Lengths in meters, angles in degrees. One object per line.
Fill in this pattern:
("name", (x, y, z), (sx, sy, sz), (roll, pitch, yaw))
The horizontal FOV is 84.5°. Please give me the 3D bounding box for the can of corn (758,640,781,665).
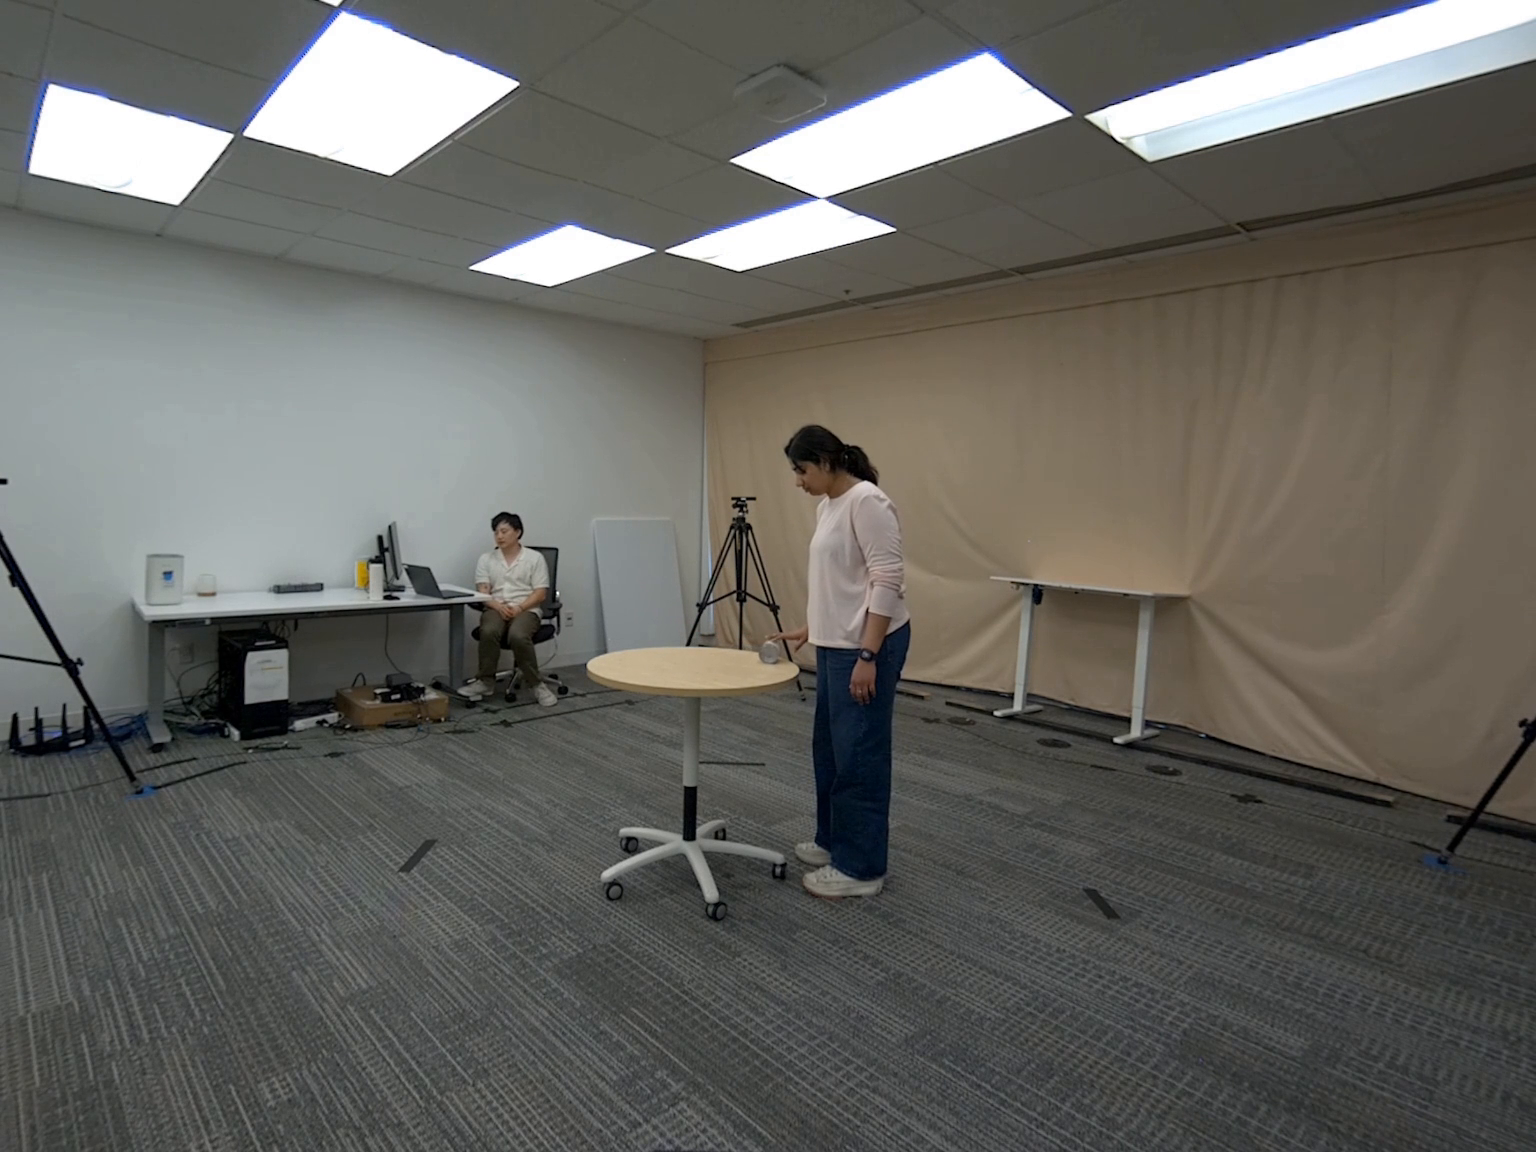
("can of corn", (0.000, 0.282, 3.177), (0.074, 0.074, 0.111), (2, 2, 4))
